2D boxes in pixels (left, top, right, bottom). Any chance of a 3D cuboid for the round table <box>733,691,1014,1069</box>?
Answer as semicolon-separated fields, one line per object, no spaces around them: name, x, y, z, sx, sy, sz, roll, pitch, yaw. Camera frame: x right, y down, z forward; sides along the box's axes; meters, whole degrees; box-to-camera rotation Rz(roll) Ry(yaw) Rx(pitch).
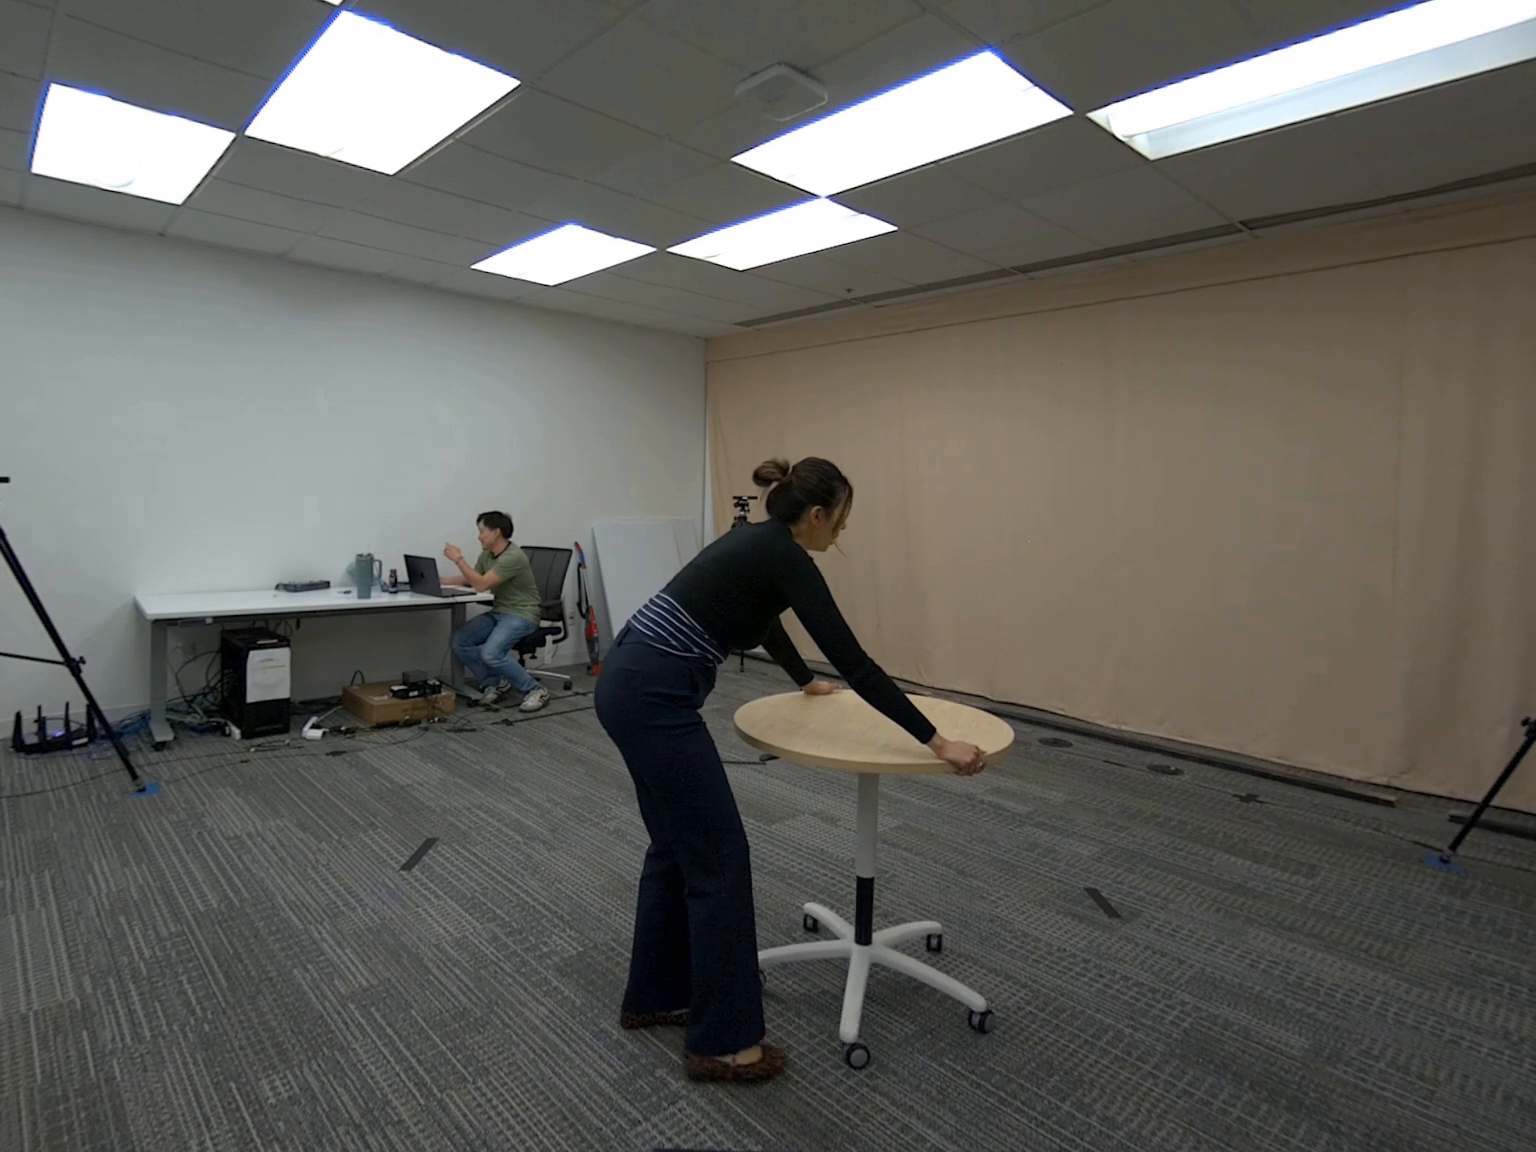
round table;0.274;0.795;2.386;0.763;0.792;0.767;1;4;-1
